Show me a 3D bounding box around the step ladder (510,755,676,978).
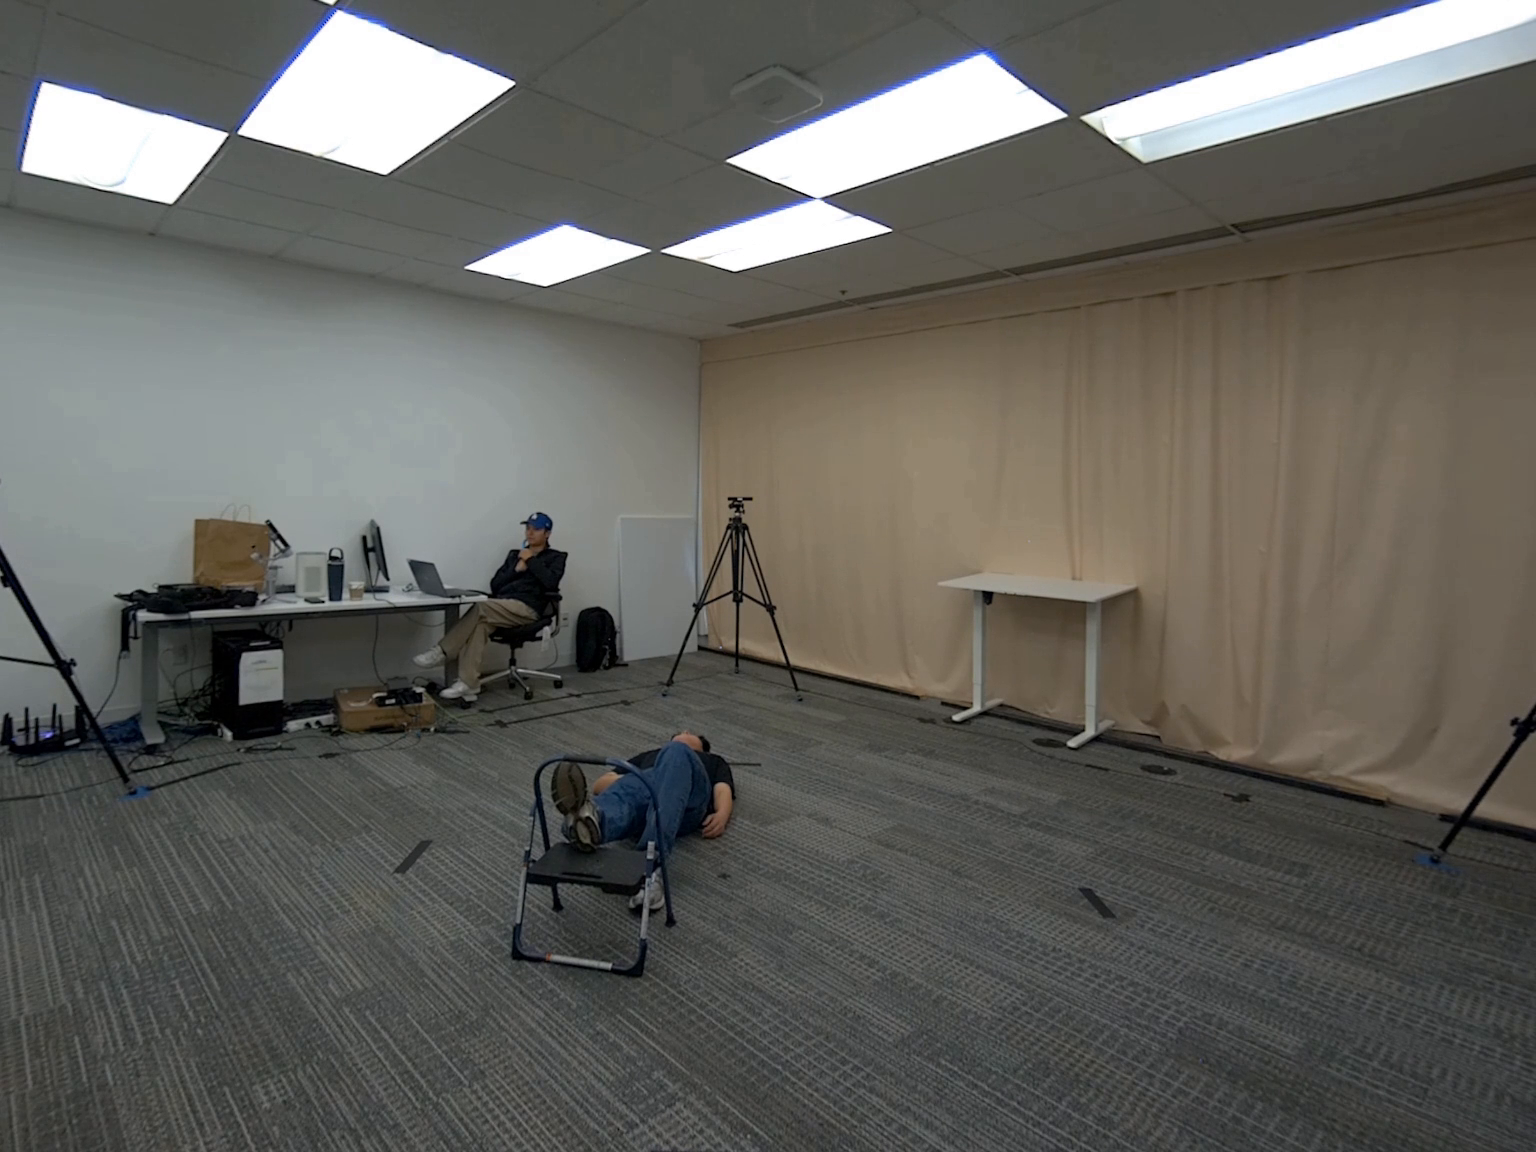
[{"bbox_3d":[-0.538,0.844,2.621,0.434,0.604,0.347,2,4,10],"label":"step ladder"}]
